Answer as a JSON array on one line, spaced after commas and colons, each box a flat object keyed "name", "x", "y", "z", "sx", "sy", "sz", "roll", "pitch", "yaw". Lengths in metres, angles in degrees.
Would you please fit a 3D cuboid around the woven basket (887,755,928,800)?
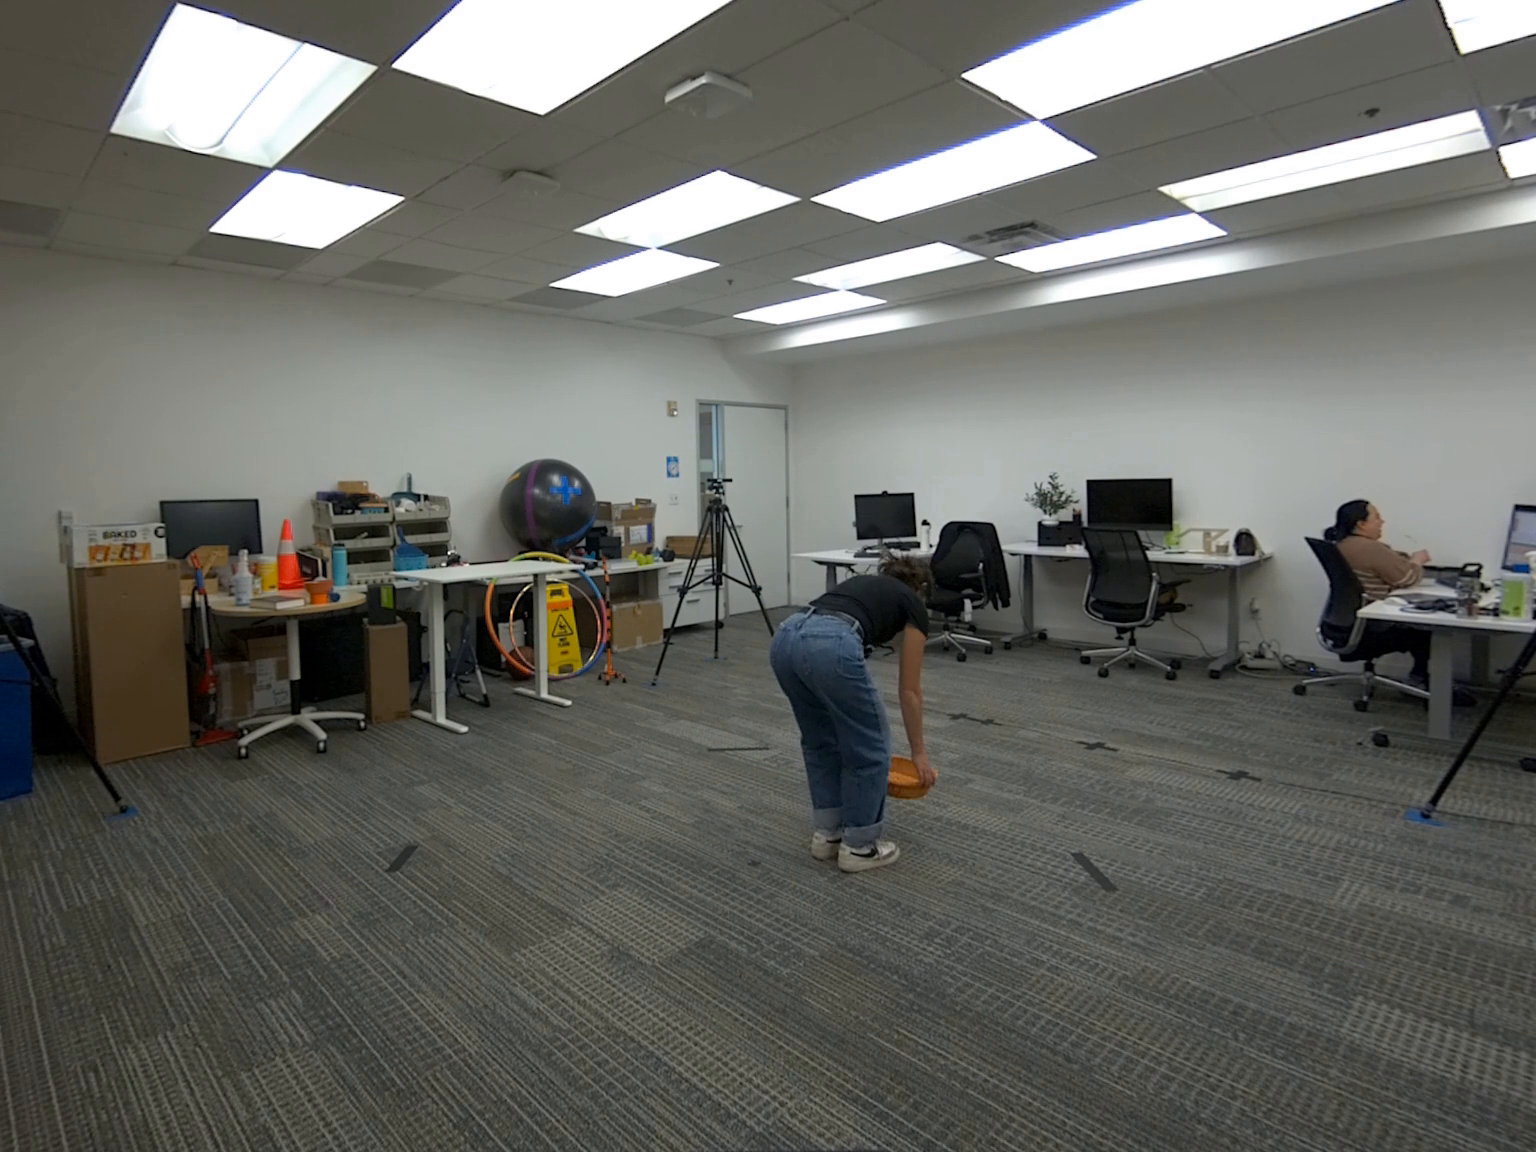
[{"name": "woven basket", "x": 0.497, "y": 0.768, "z": 3.317, "sx": 0.246, "sy": 0.073, "sz": 0.361, "roll": -11, "pitch": 12, "yaw": -38}]
